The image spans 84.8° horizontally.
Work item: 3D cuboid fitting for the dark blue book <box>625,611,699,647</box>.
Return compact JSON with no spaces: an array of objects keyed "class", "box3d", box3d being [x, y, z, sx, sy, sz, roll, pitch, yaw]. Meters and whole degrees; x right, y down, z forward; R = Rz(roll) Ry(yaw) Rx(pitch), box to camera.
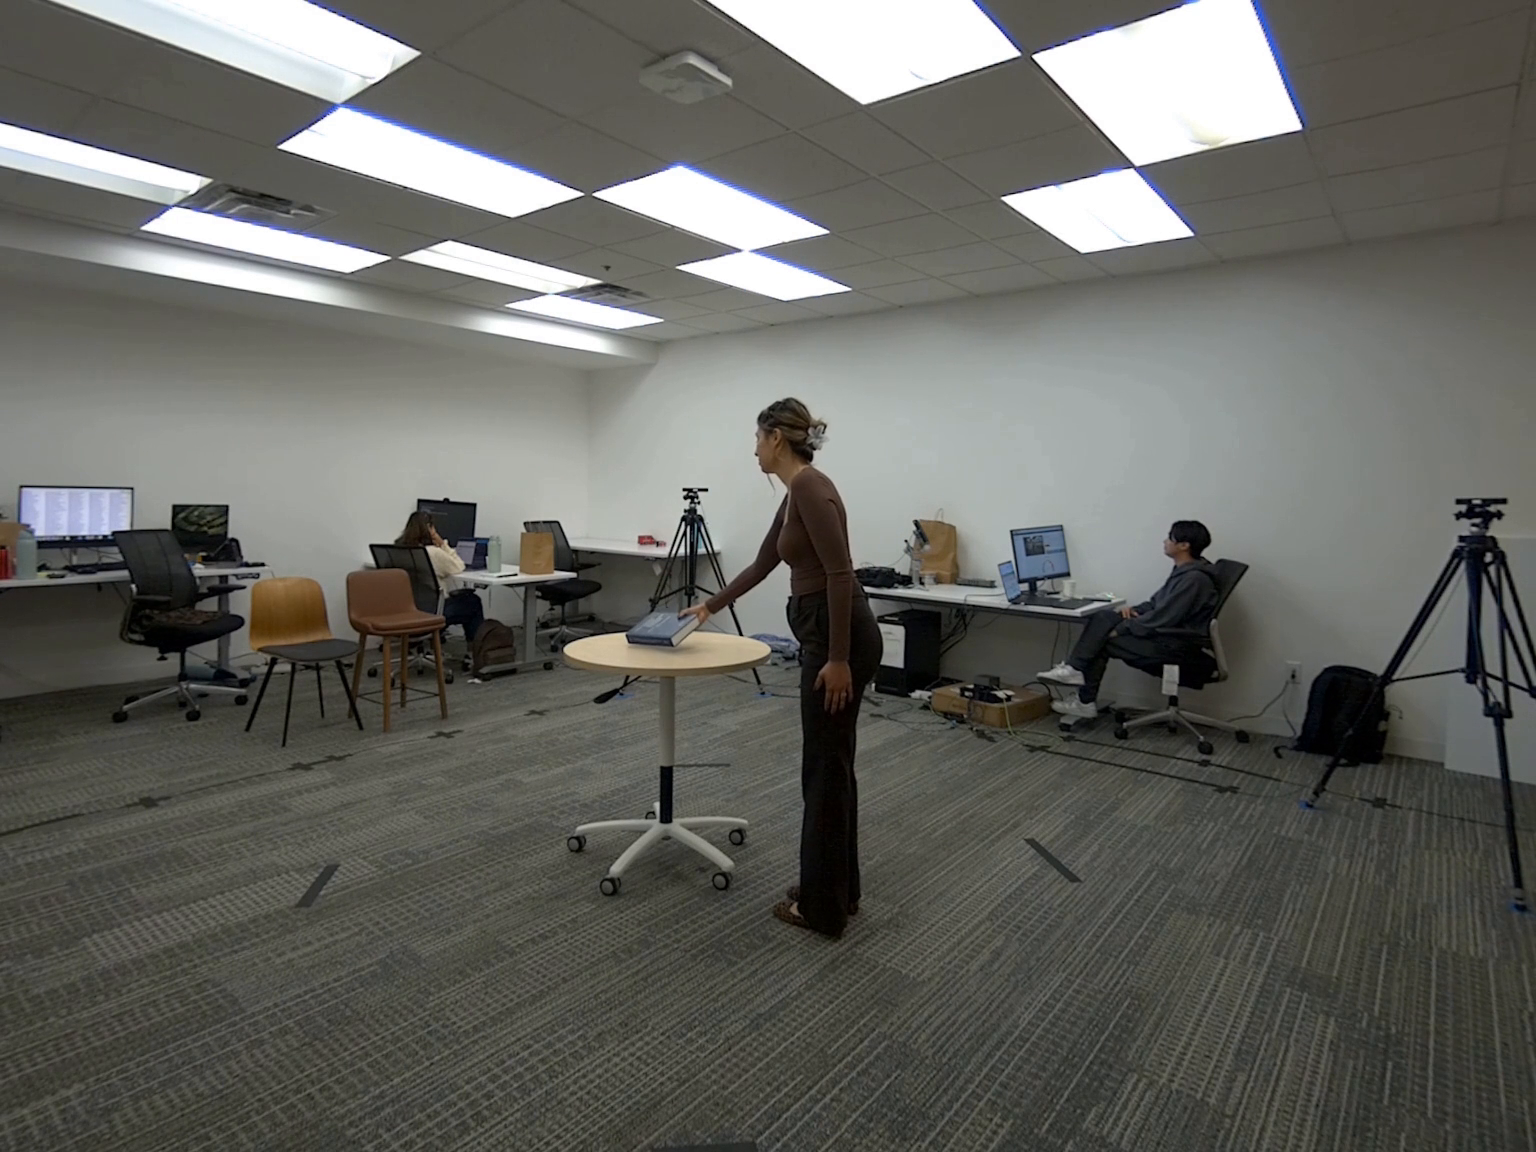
[{"class":"dark blue book","box3d":[-0.398,0.197,3.155,0.253,0.044,0.162,0,28,41]}]
